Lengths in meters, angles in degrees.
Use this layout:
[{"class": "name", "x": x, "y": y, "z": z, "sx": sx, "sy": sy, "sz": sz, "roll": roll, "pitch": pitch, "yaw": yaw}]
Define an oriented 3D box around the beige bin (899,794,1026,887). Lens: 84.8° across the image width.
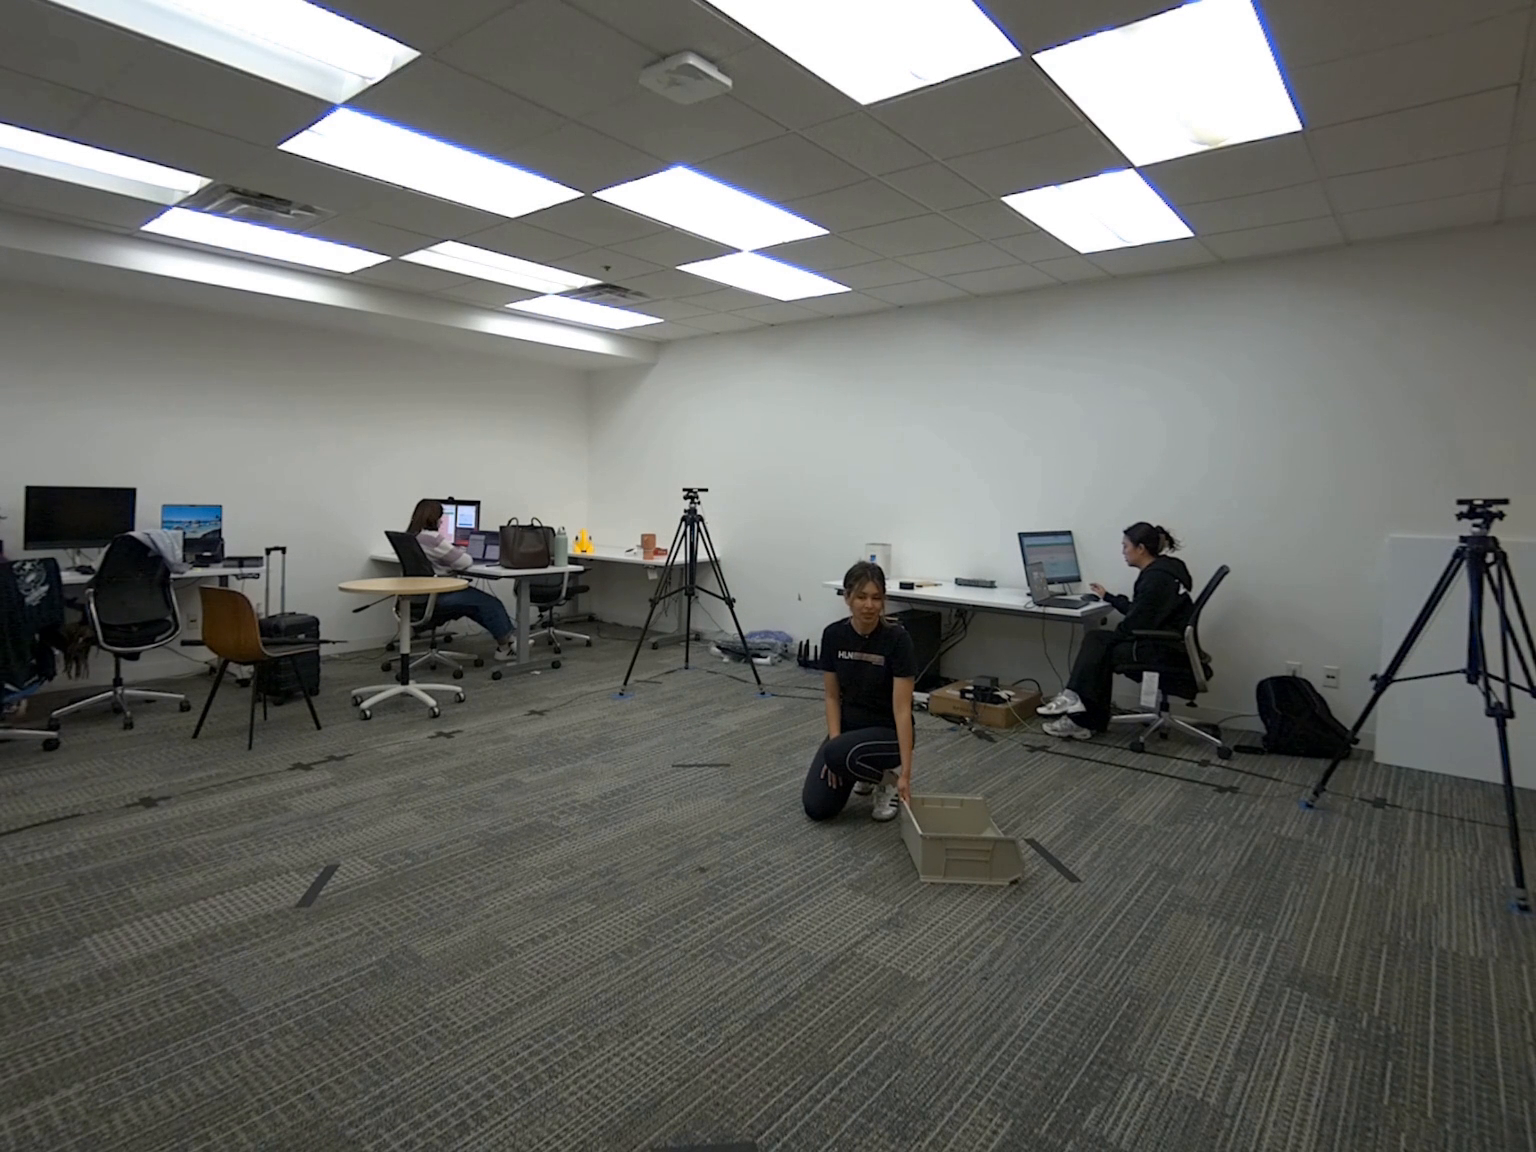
[{"class": "beige bin", "x": 0.724, "y": 0.990, "z": 3.245, "sx": 0.377, "sy": 0.188, "sz": 0.424, "roll": 0, "pitch": 5, "yaw": -1}]
